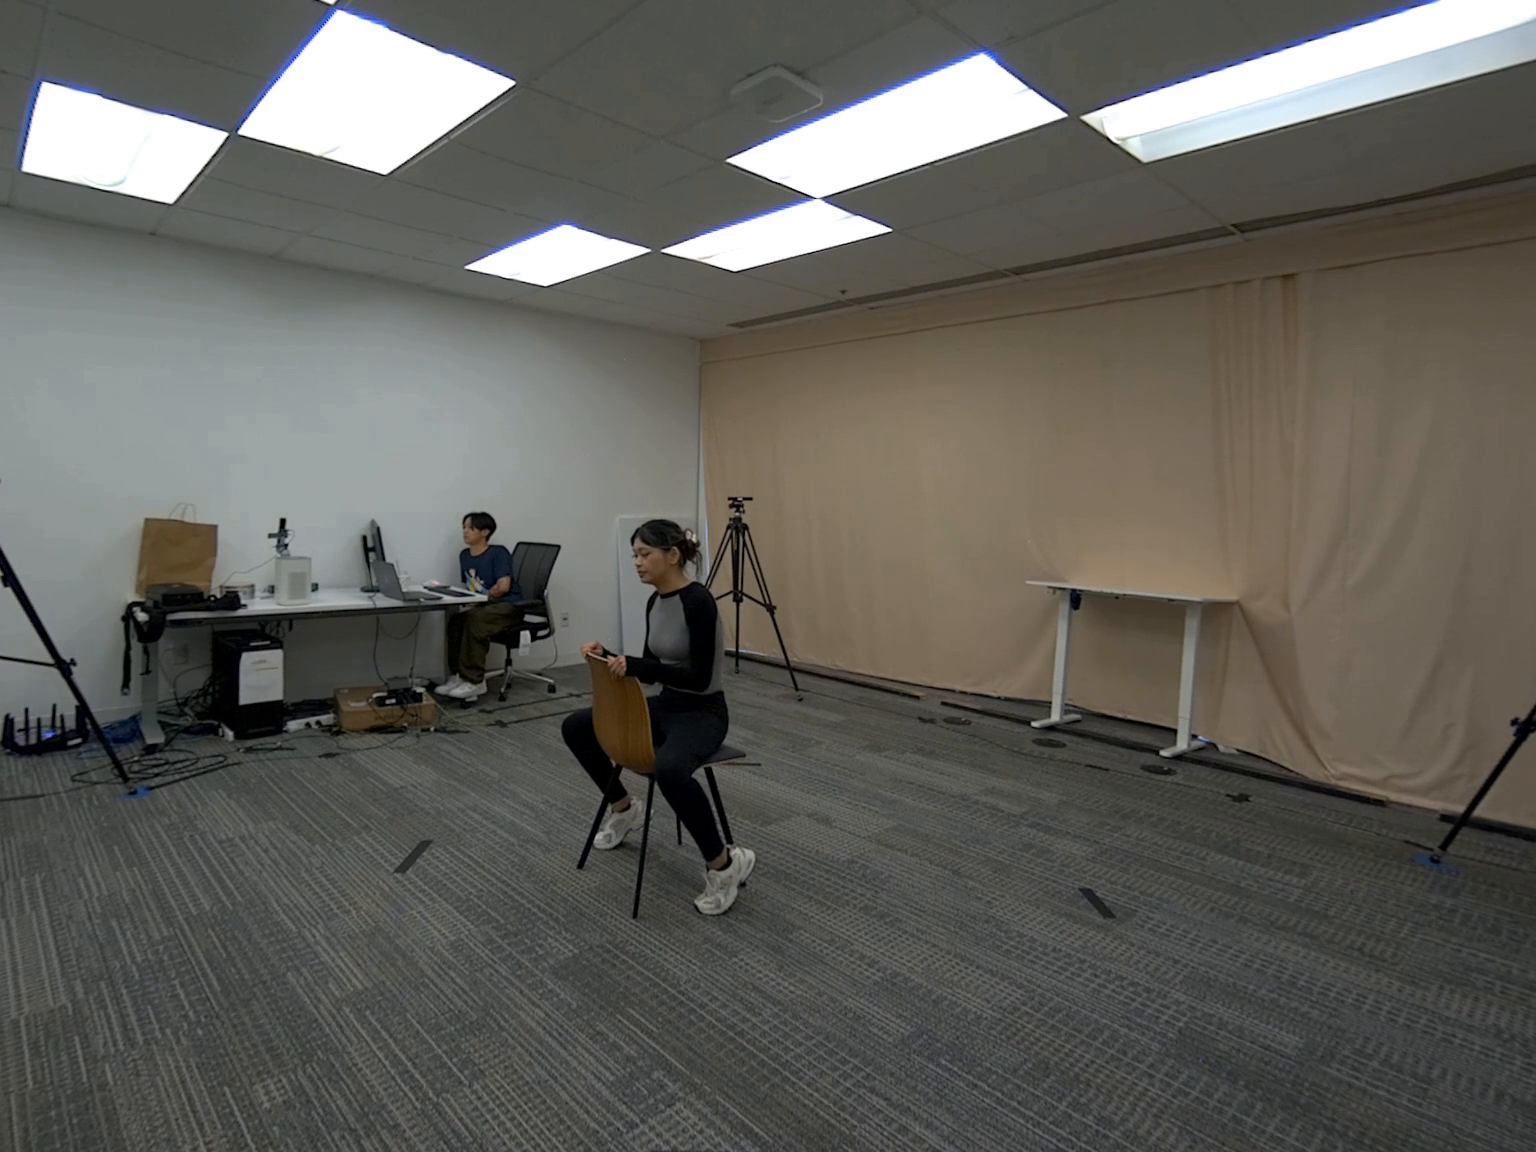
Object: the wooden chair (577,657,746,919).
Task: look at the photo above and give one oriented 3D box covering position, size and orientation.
[{"bbox_3d":[-0.386,0.681,3.056,0.513,0.873,0.490,-7,8,-35],"label":"wooden chair"}]
